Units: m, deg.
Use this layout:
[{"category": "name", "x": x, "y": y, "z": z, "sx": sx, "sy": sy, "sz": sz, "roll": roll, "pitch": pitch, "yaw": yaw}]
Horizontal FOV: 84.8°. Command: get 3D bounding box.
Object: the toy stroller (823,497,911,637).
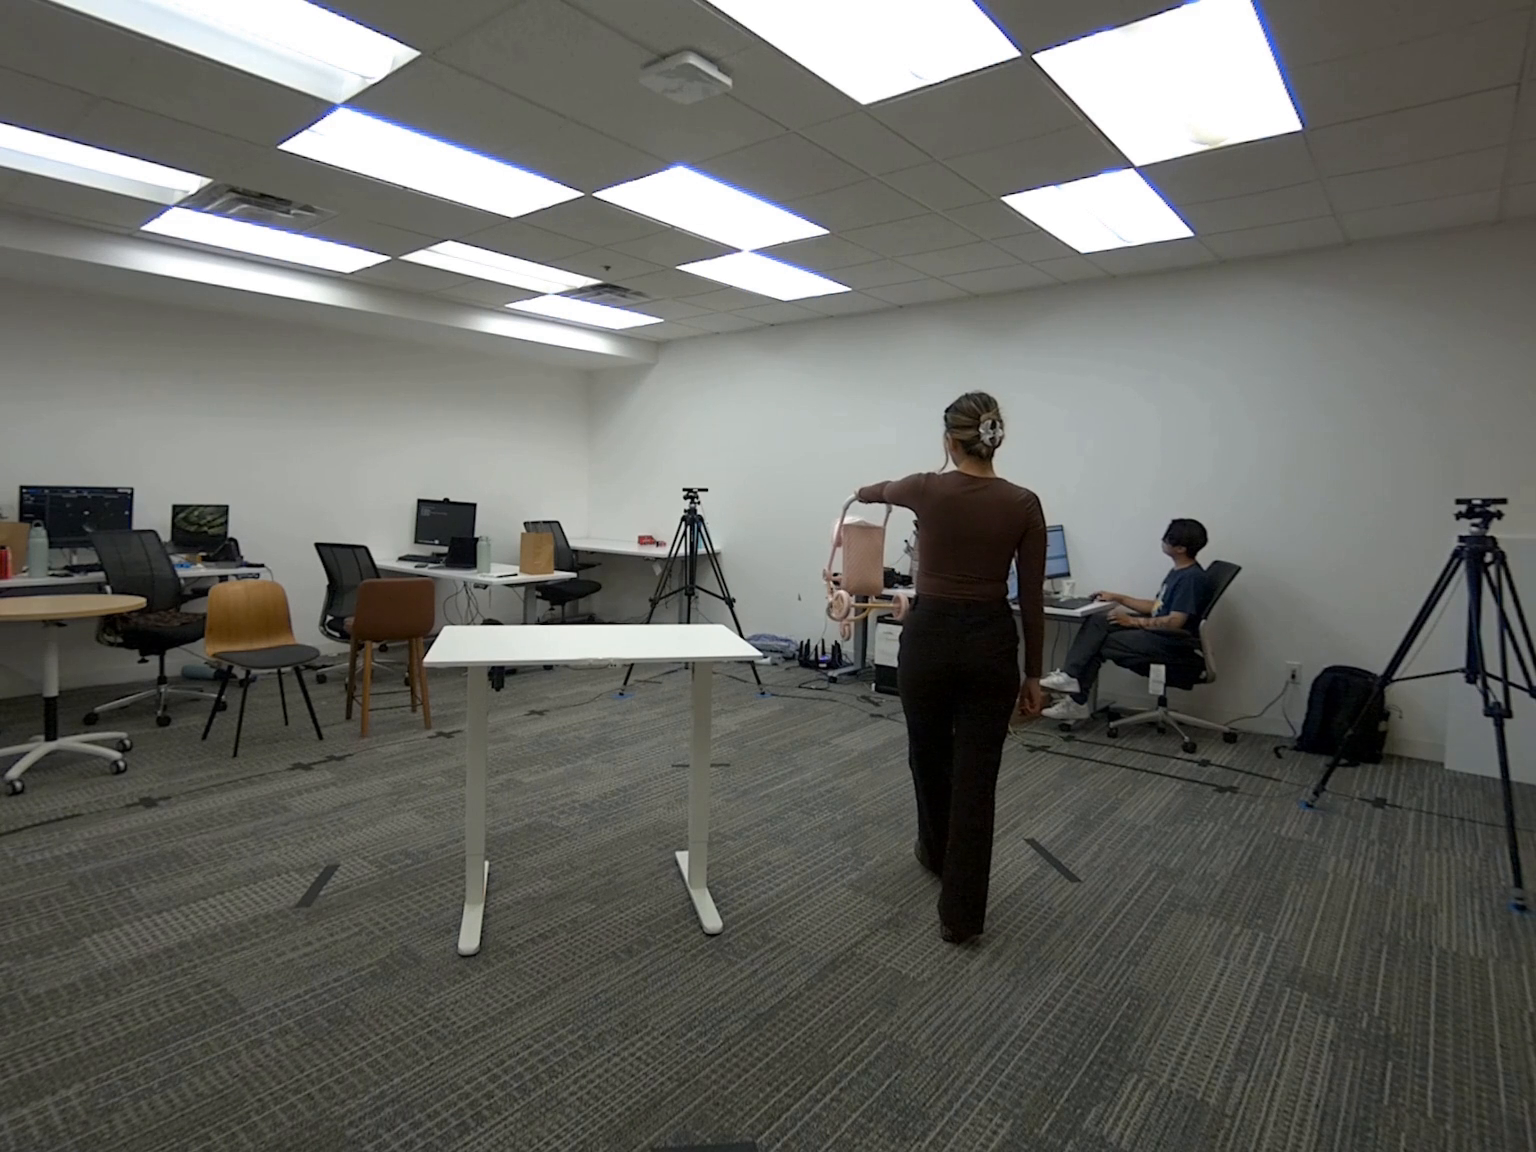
[{"category": "toy stroller", "x": 0.343, "y": -0.026, "z": 3.406, "sx": 0.277, "sy": 0.542, "sz": 0.343, "roll": 1, "pitch": -12, "yaw": -16}]
